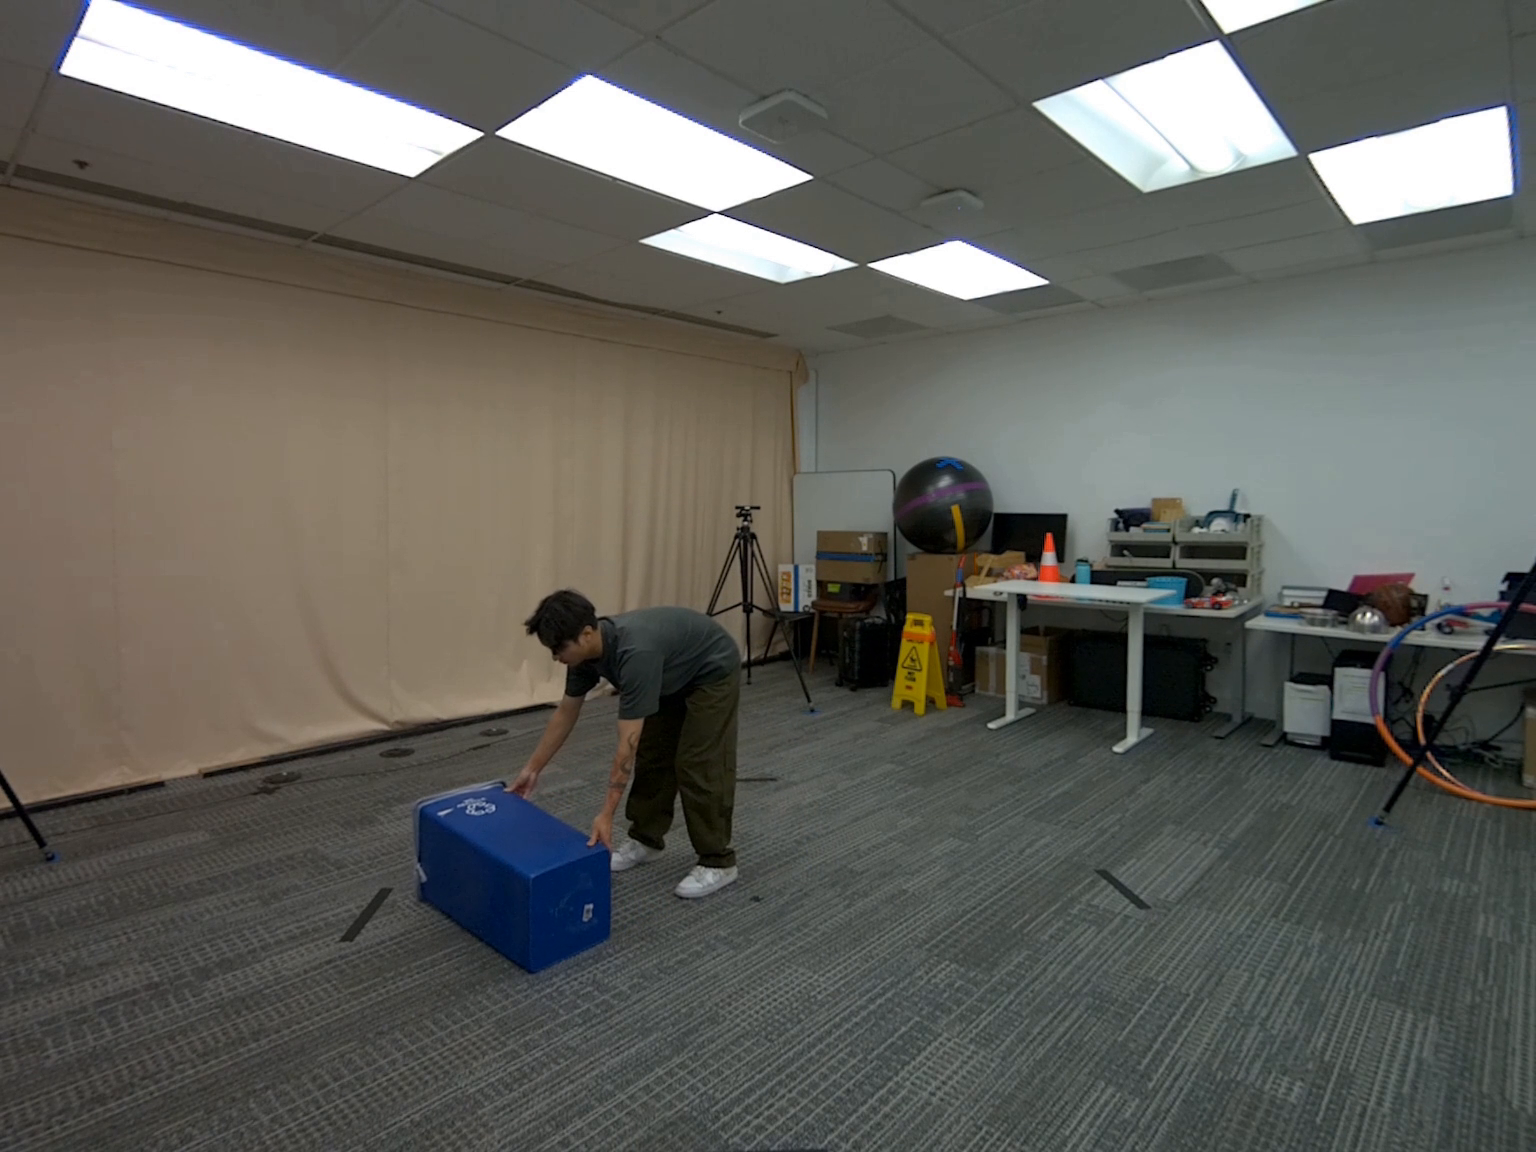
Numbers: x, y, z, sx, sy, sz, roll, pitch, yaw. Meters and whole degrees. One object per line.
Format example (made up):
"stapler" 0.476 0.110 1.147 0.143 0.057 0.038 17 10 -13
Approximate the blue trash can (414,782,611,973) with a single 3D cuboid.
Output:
"blue trash can" -0.871 0.990 2.842 0.738 0.373 0.366 6 6 43
